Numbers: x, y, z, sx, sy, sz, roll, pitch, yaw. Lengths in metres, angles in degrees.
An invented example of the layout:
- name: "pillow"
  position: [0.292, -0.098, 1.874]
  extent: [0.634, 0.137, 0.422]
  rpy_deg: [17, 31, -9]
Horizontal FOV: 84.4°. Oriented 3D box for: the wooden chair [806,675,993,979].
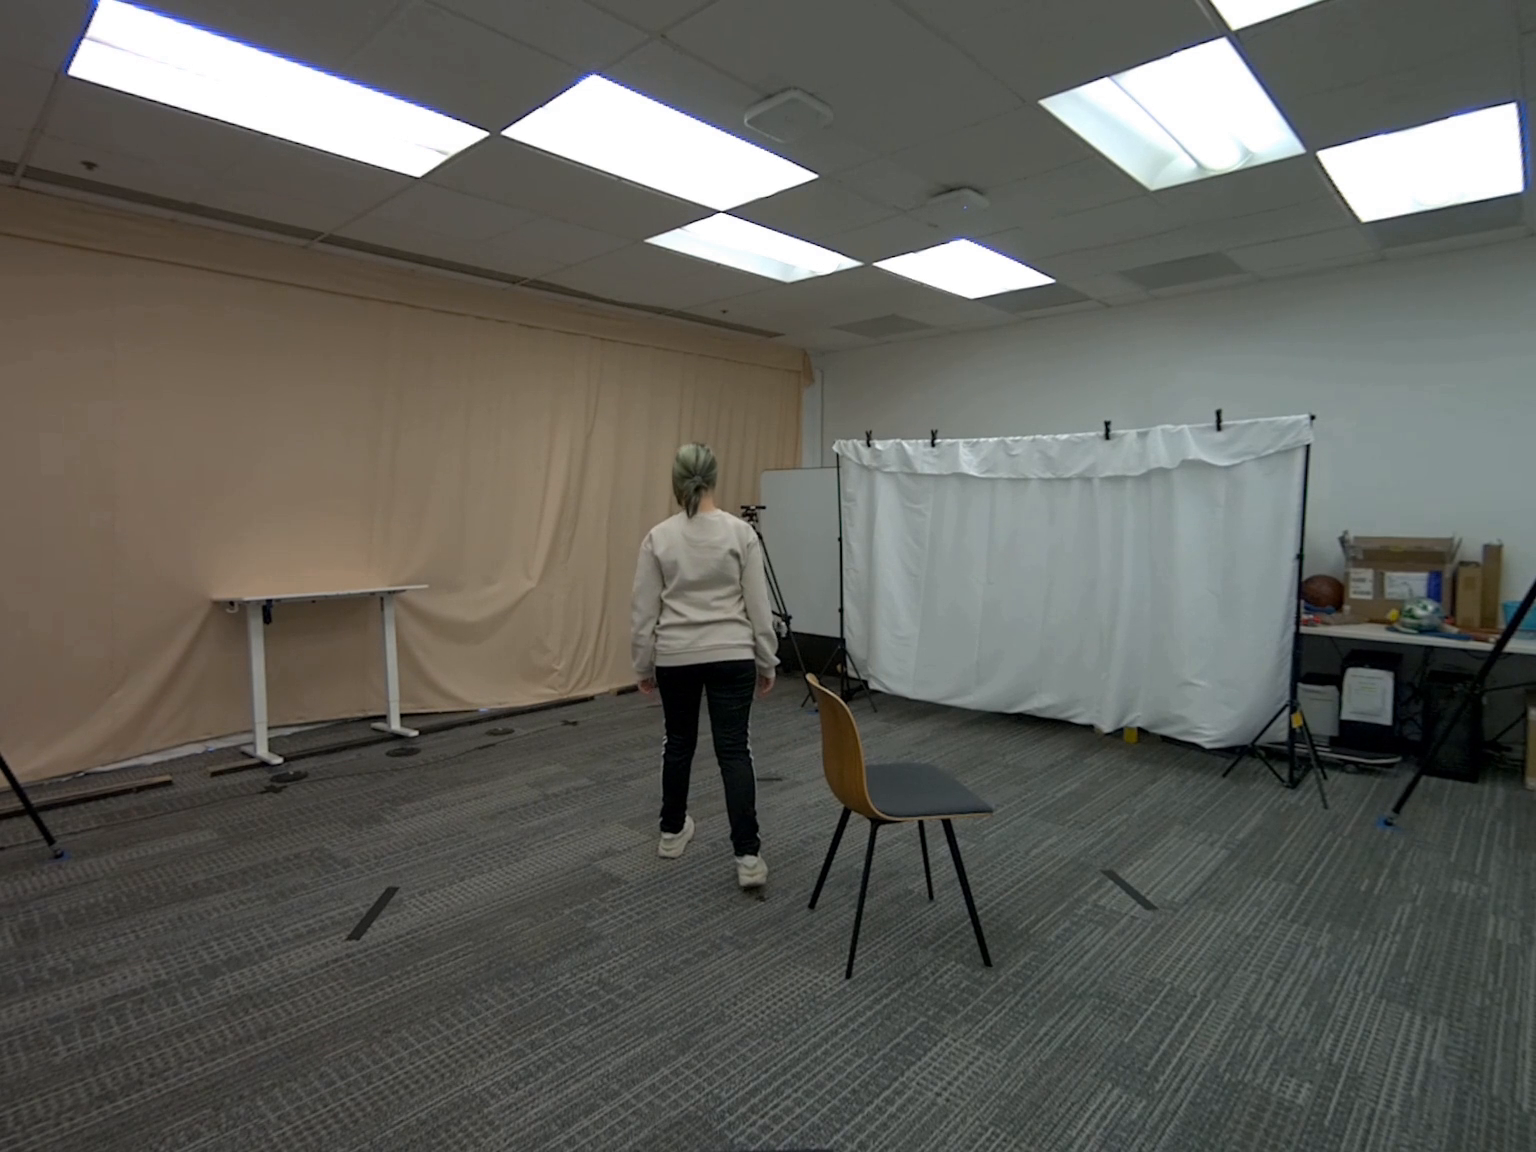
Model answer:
- name: "wooden chair"
  position: [0.420, 0.738, 2.705]
  extent: [0.517, 0.875, 0.484]
  rpy_deg: [-5, 4, -11]
